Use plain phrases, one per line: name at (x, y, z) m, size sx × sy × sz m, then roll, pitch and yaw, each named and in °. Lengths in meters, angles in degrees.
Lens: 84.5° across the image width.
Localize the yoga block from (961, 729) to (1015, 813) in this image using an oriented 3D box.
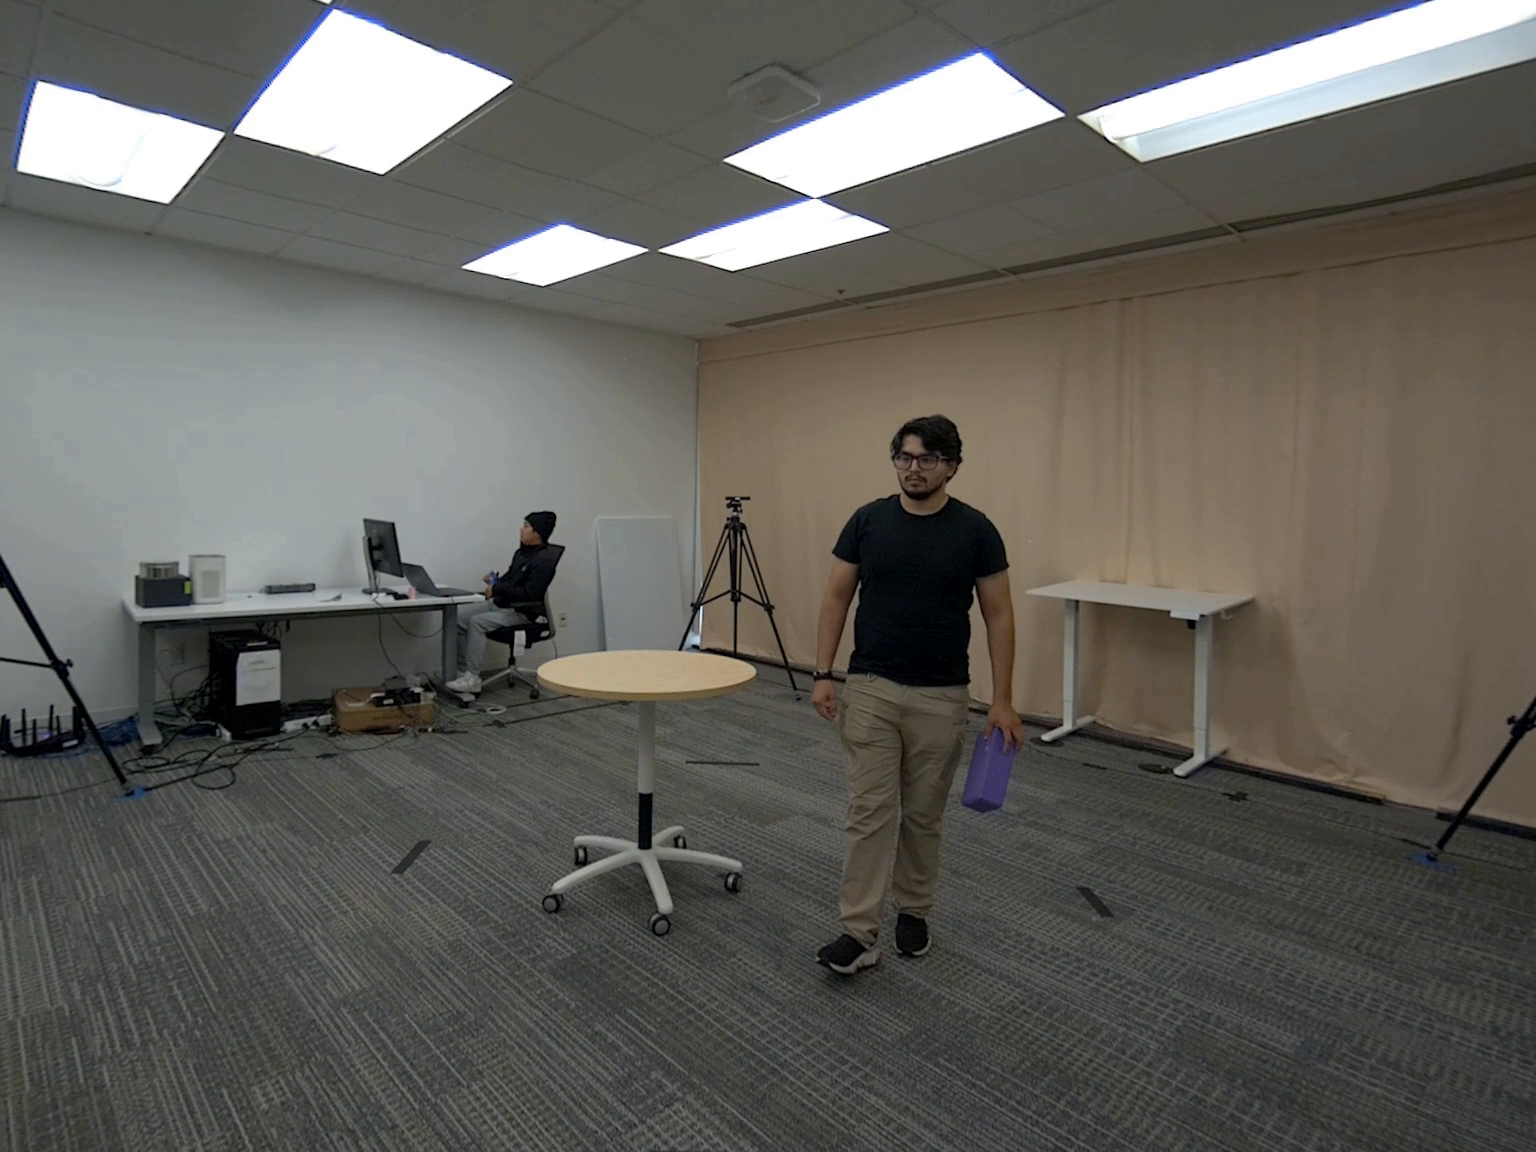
yoga block at (0.641, 0.562, 2.434) m, size 0.076 × 0.231 × 0.147 m, roll 21°, pitch -22°, yaw 0°
